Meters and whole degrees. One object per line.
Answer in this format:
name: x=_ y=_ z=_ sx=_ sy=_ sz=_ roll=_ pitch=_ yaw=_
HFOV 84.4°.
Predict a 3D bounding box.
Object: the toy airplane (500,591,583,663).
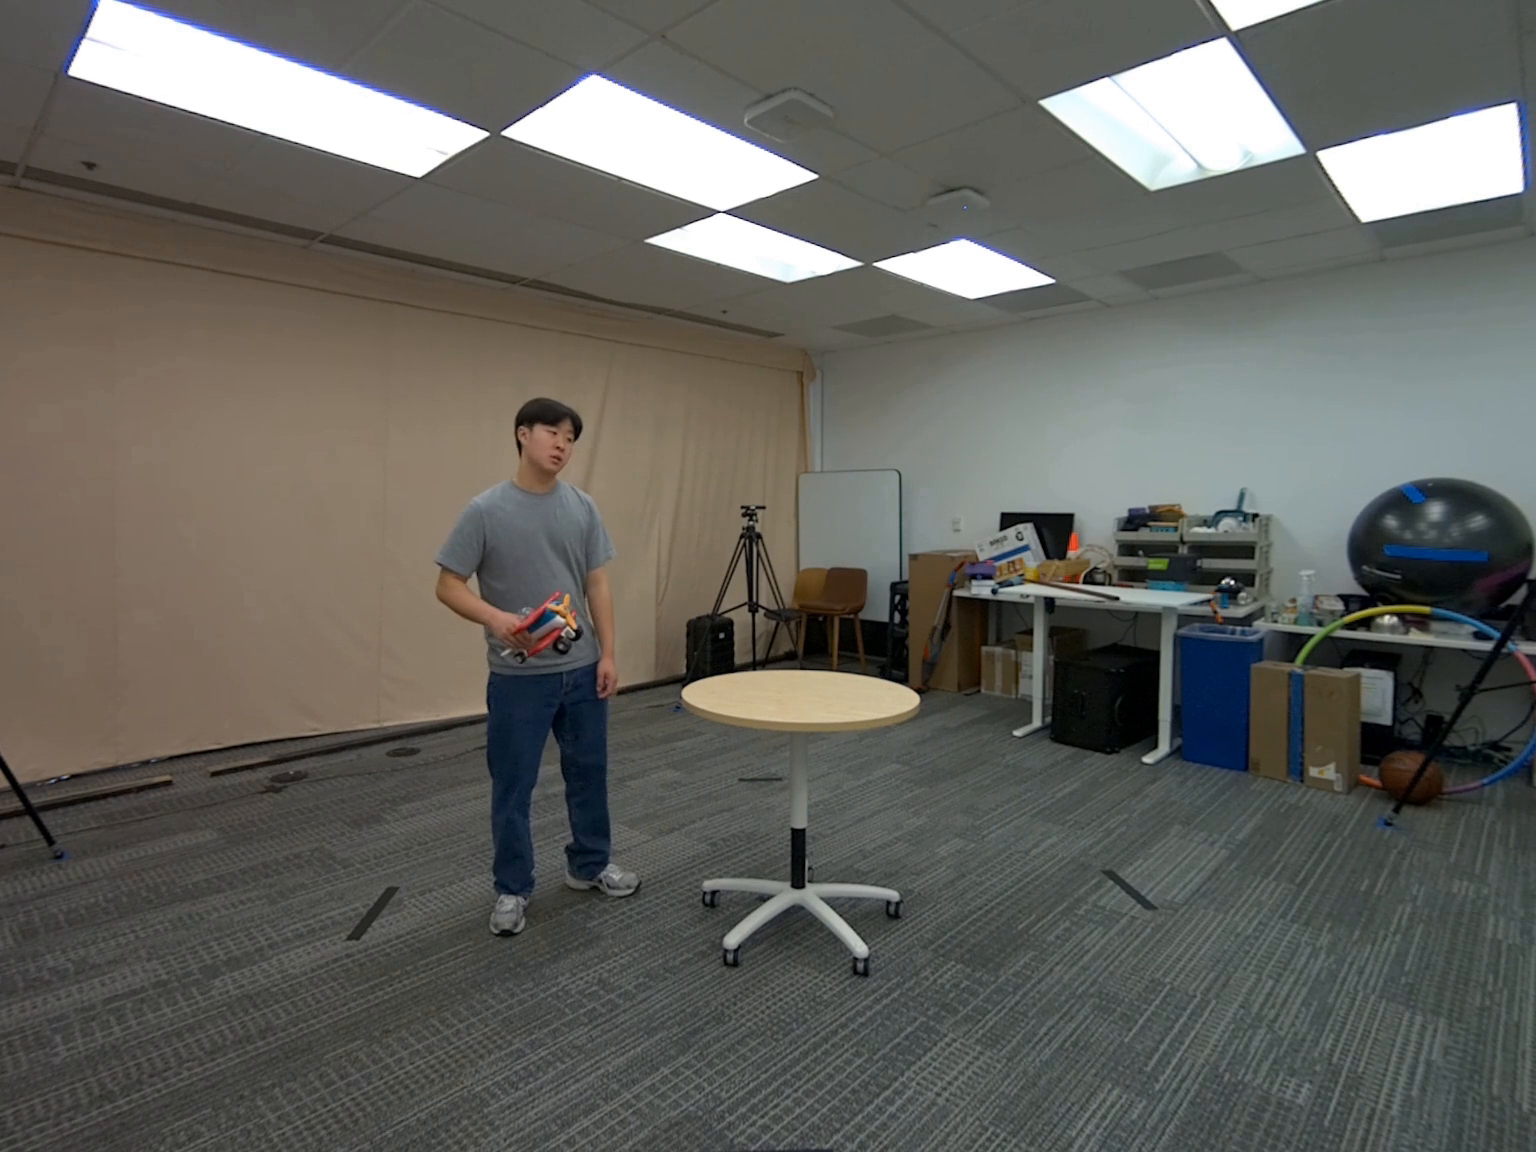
toy airplane: x=-0.689 y=0.172 z=2.532 sx=0.258 sy=0.154 sz=0.256 roll=-24 pitch=16 yaw=-6
